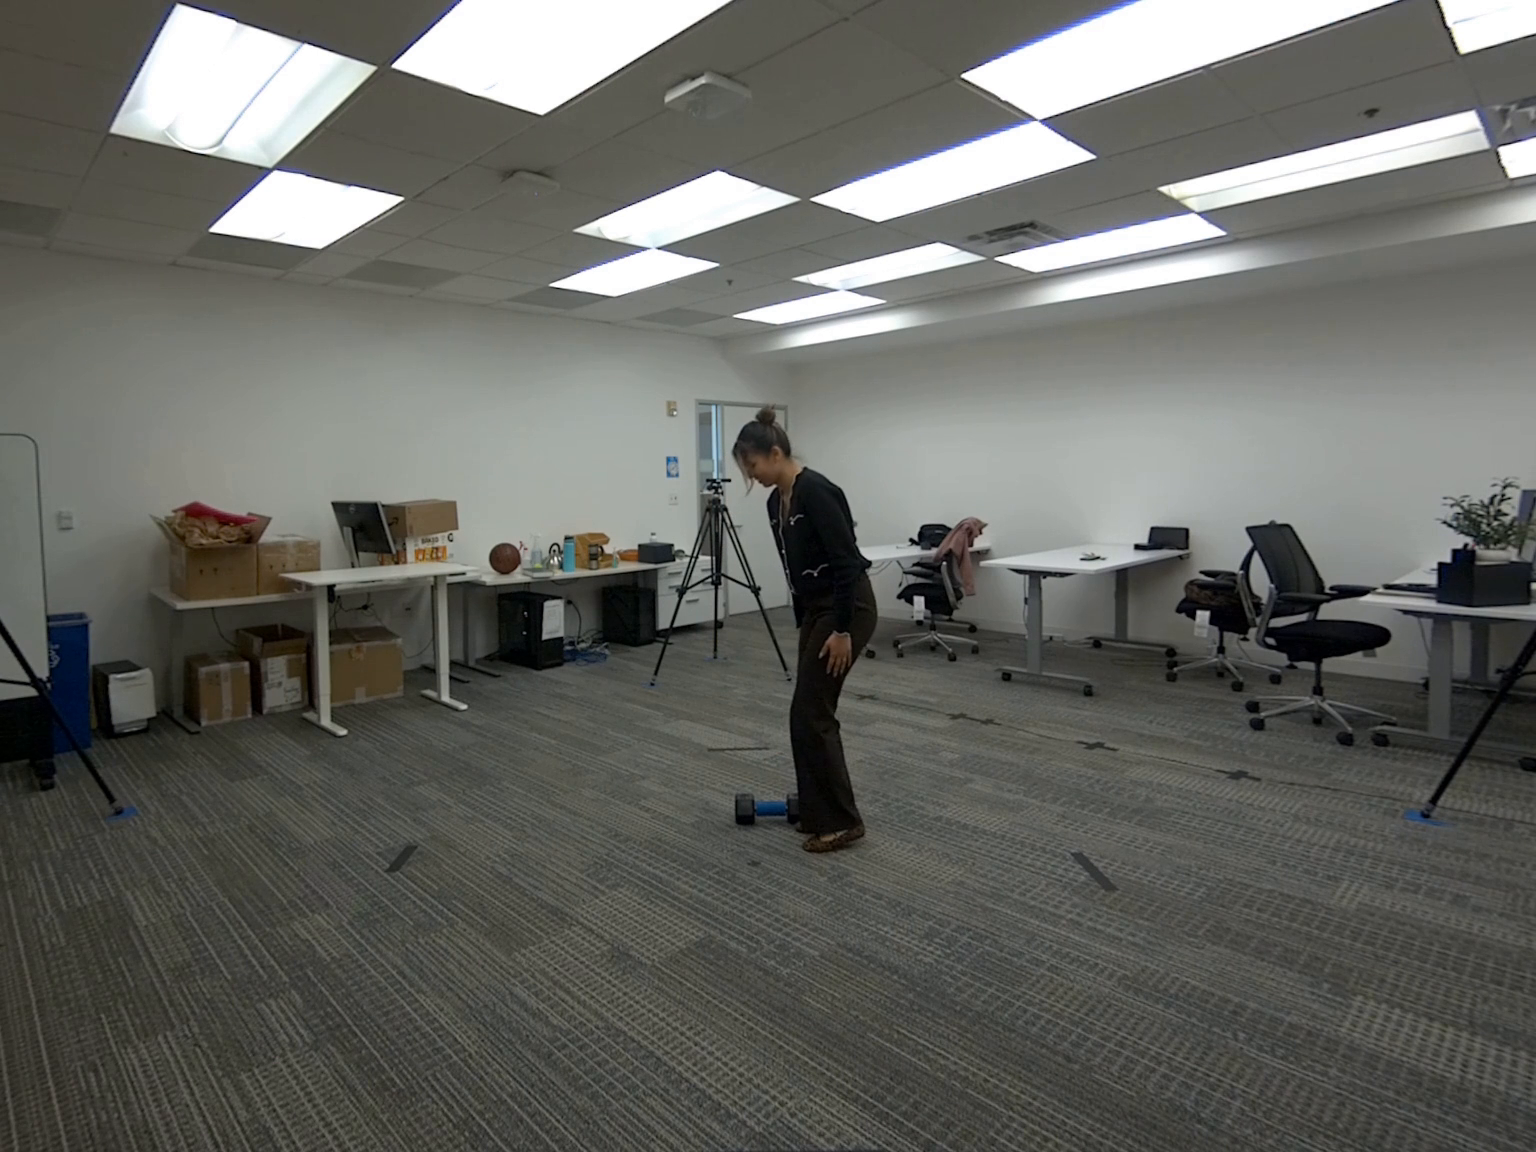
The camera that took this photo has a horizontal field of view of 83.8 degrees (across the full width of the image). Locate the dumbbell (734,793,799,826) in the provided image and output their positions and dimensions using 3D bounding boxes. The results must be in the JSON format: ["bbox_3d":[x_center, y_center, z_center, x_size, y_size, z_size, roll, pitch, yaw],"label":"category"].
[{"bbox_3d":[0.012,0.949,3.486,0.294,0.125,0.106,-1,-23,0],"label":"dumbbell"}]
